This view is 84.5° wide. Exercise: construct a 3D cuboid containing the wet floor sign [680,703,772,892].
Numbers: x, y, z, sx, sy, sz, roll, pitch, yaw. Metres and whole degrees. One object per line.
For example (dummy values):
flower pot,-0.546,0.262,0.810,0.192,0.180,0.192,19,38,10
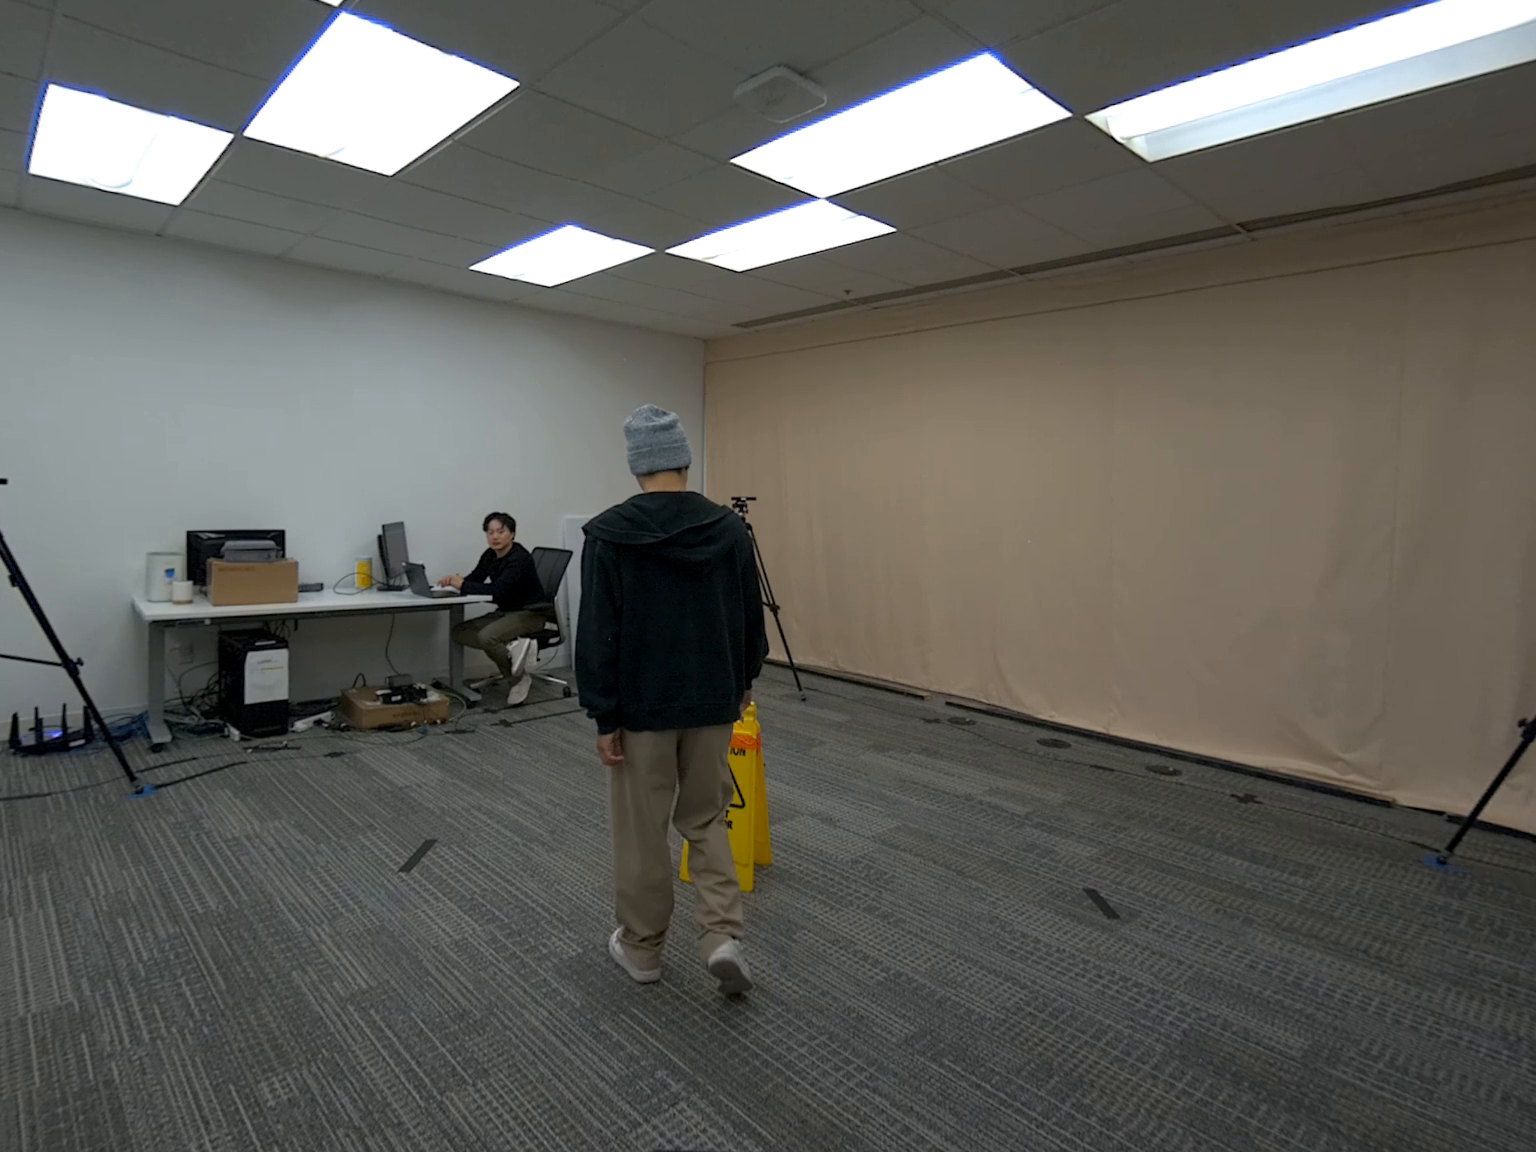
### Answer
wet floor sign,-0.148,0.781,3.126,0.286,0.645,0.286,3,3,18
